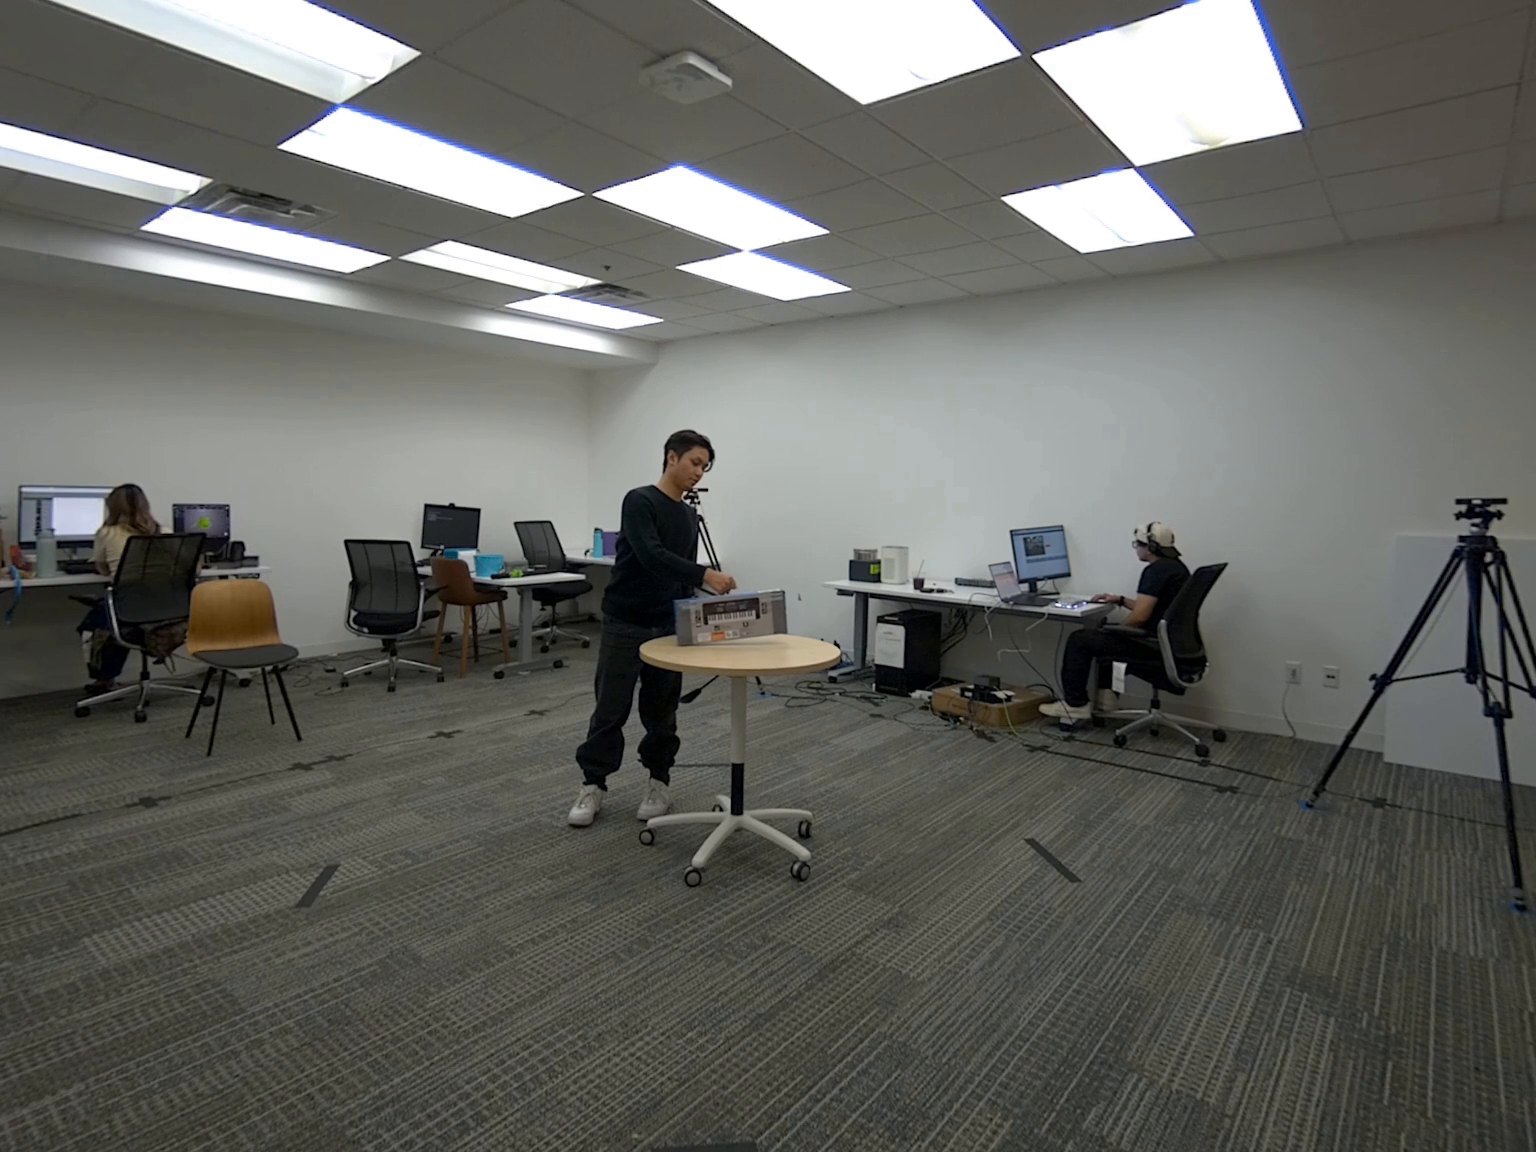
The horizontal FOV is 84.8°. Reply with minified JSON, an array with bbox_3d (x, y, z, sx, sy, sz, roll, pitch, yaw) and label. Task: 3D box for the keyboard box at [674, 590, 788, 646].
[{"bbox_3d":[-0.158,0.156,3.335,0.433,0.175,0.060,-5,5,-9],"label":"keyboard box"}]
